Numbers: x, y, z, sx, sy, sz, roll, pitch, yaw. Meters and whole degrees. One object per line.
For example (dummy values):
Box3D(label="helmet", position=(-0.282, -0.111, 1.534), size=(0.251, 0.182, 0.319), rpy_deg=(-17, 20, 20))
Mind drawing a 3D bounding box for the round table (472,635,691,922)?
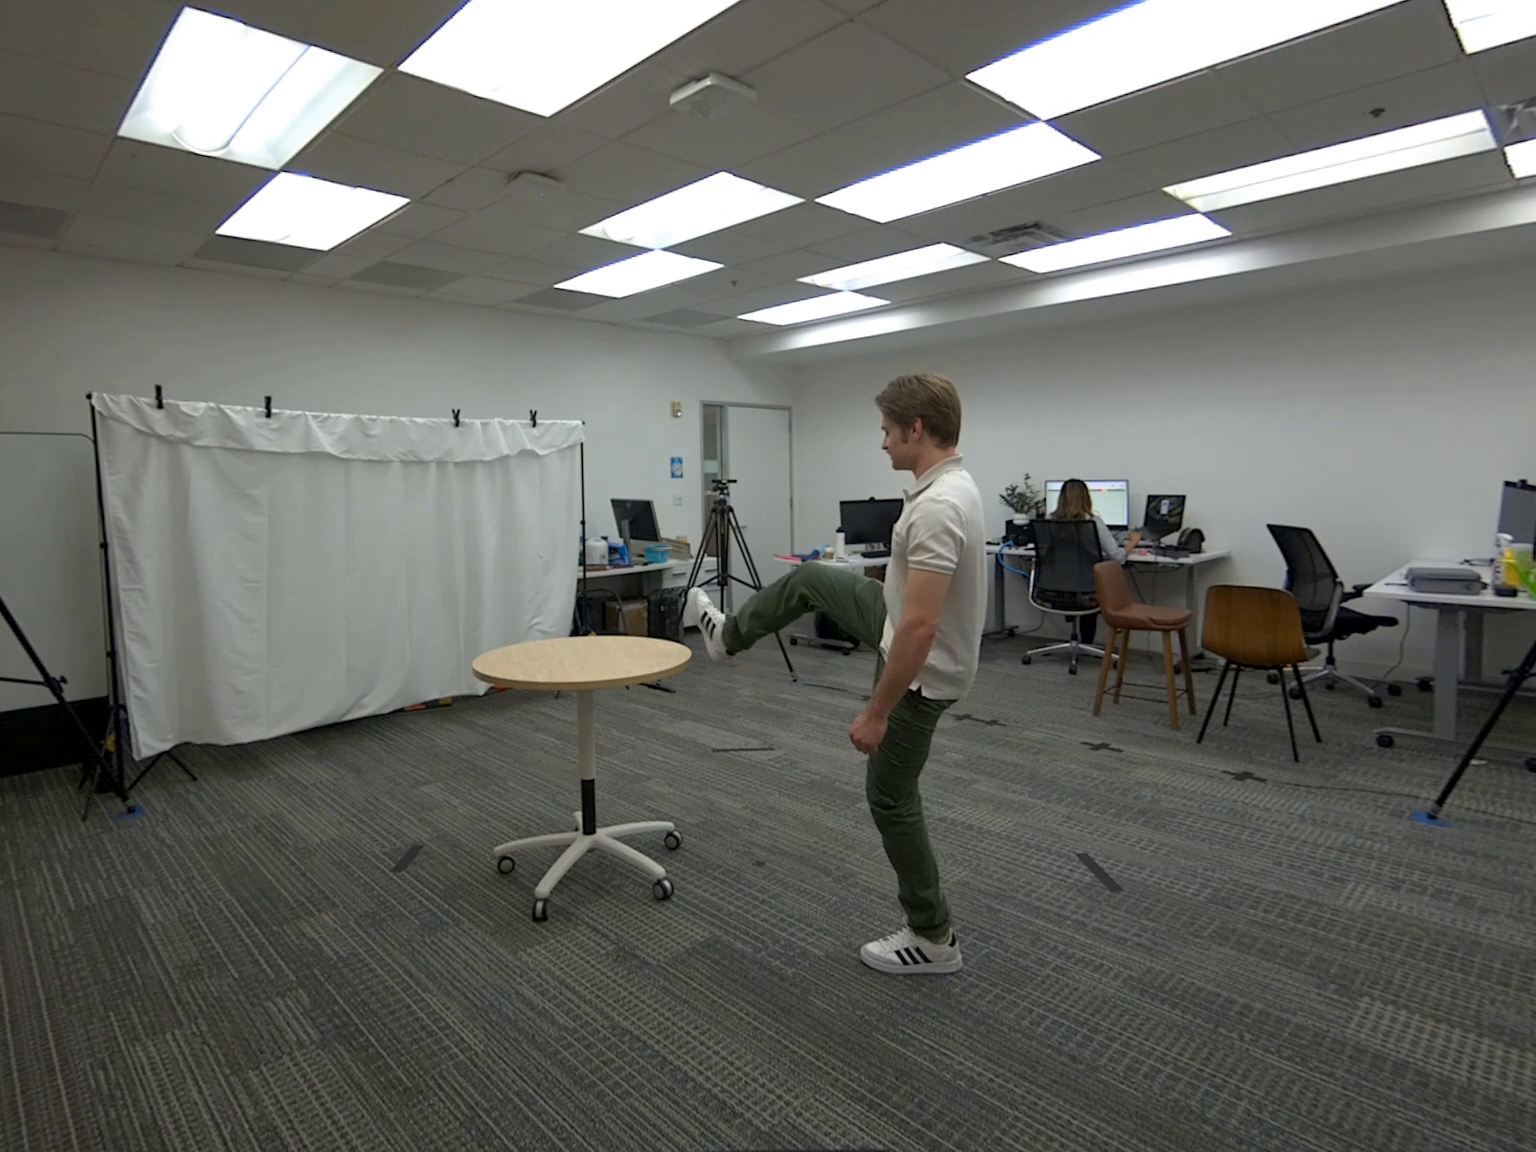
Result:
Box3D(label="round table", position=(-0.641, 0.676, 3.061), size=(0.763, 0.791, 0.768), rpy_deg=(-1, 5, -2))
